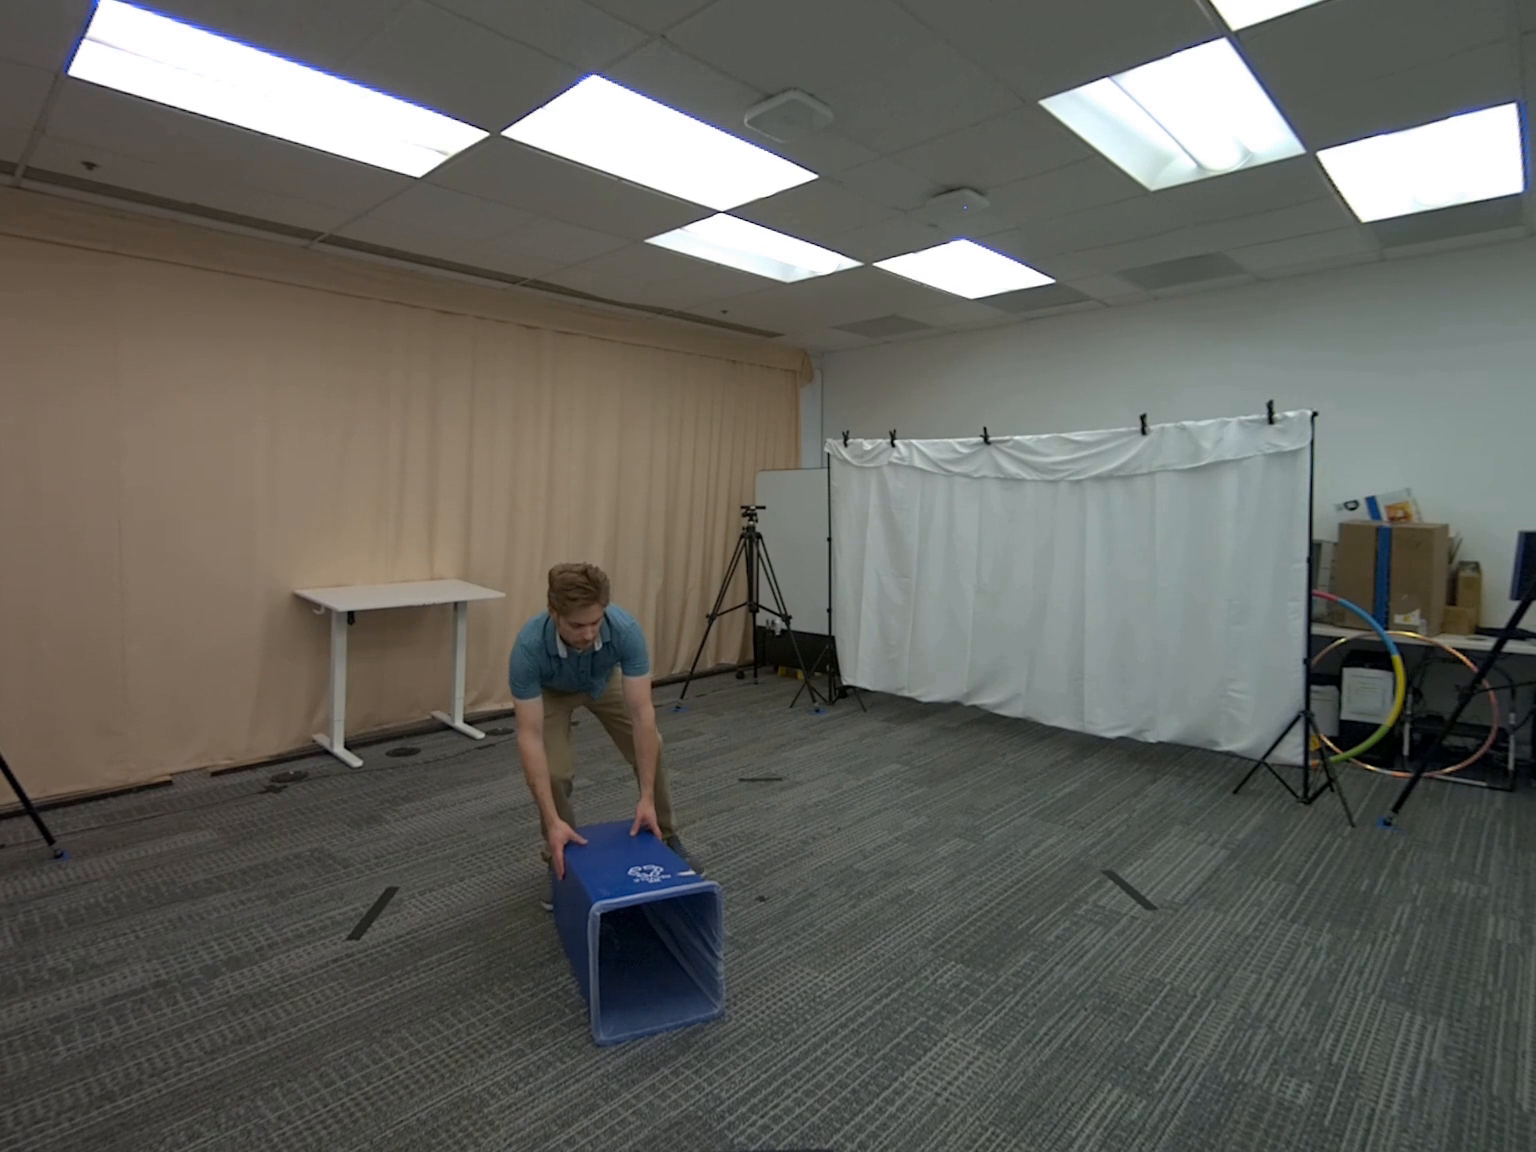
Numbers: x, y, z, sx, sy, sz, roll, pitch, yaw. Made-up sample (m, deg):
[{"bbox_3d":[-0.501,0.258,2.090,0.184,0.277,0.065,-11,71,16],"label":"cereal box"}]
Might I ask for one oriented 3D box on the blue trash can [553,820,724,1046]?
[{"bbox_3d":[-0.435,1.020,2.544,0.365,0.378,0.731,-2,2,-25],"label":"blue trash can"}]
